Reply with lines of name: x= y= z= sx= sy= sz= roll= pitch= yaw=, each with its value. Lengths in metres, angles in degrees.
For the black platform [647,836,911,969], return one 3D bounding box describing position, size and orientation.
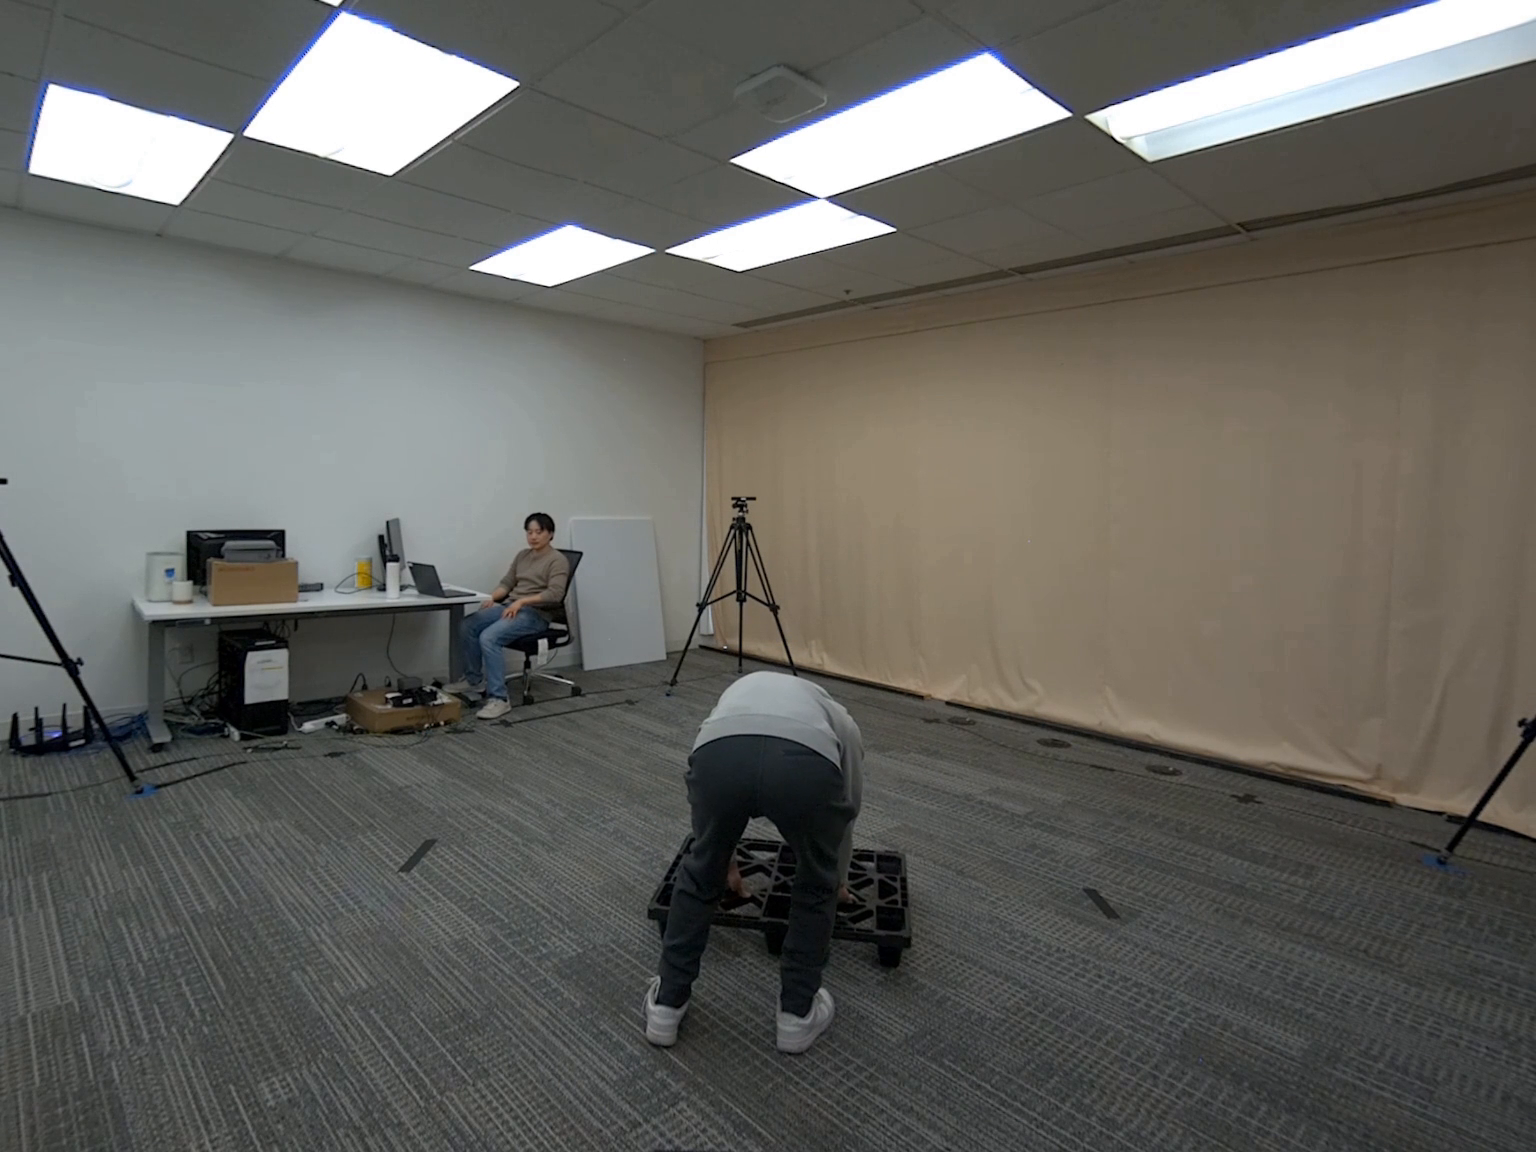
black platform: x=0.053 y=1.067 z=2.800 sx=0.812 sy=0.143 sz=0.603 roll=2 pitch=6 yaw=9
